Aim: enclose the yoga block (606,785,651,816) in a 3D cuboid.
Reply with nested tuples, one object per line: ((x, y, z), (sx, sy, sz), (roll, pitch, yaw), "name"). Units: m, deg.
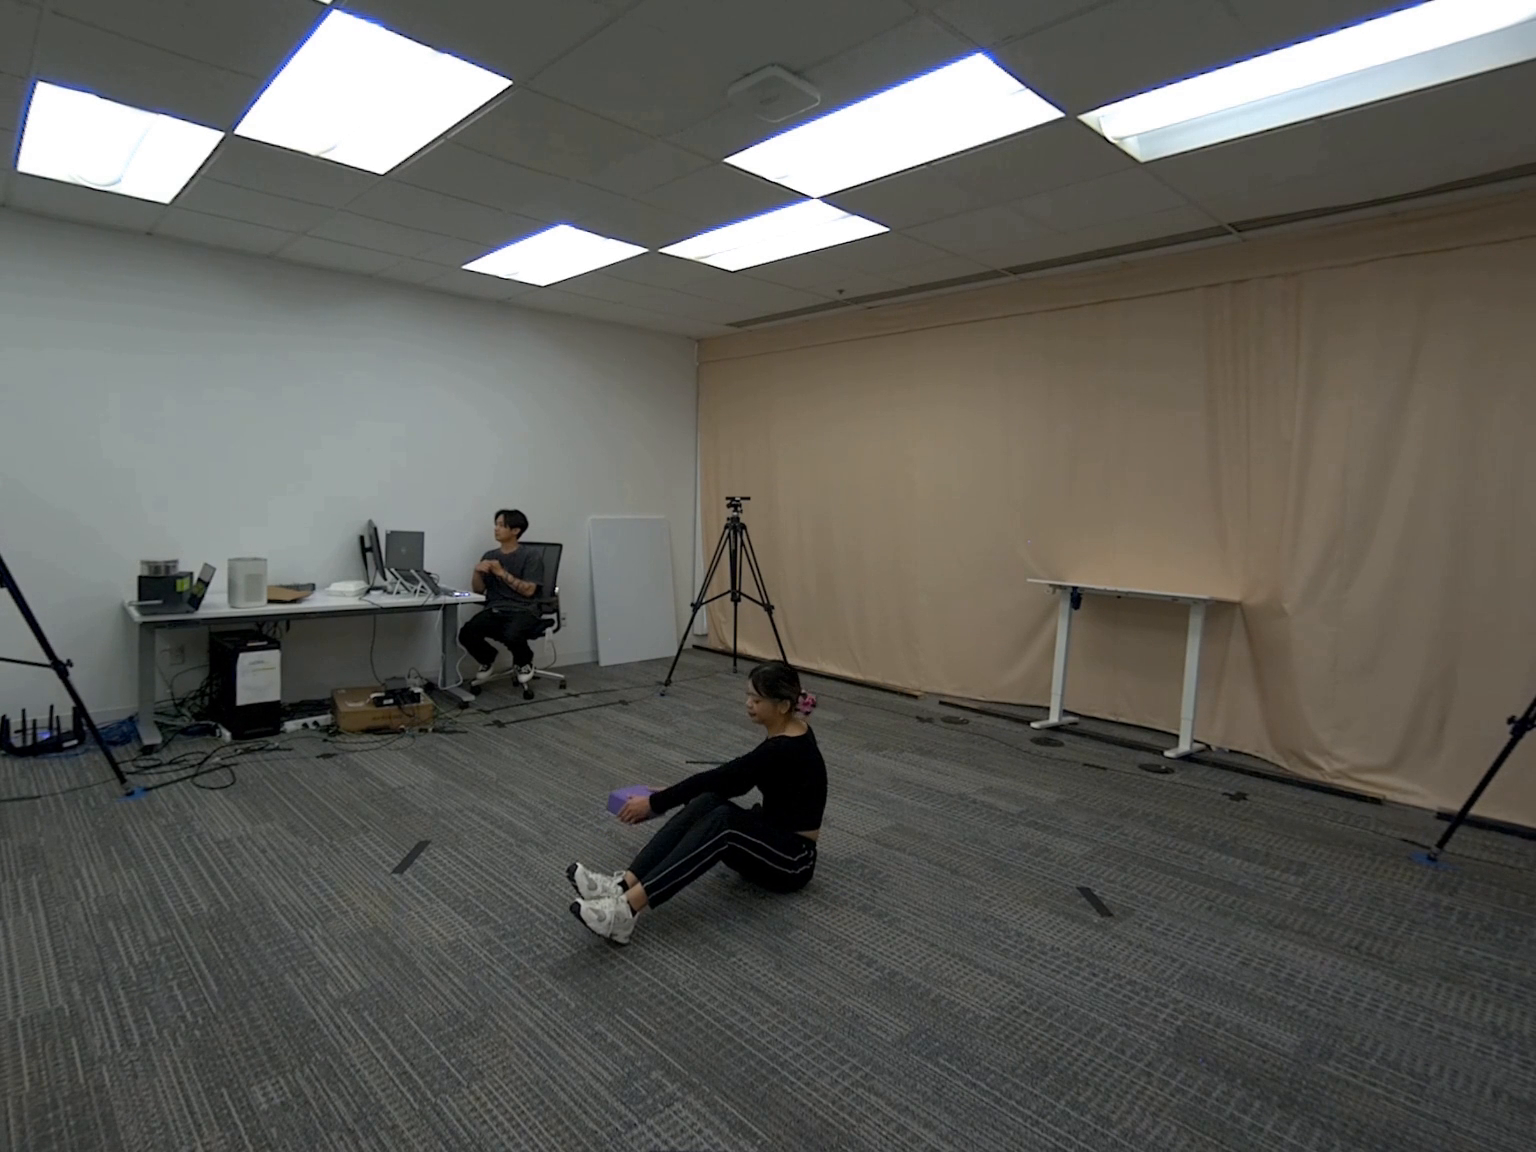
((-0.485, 0.871, 3.225), (0.151, 0.076, 0.225), (17, 2, 17), "yoga block")
